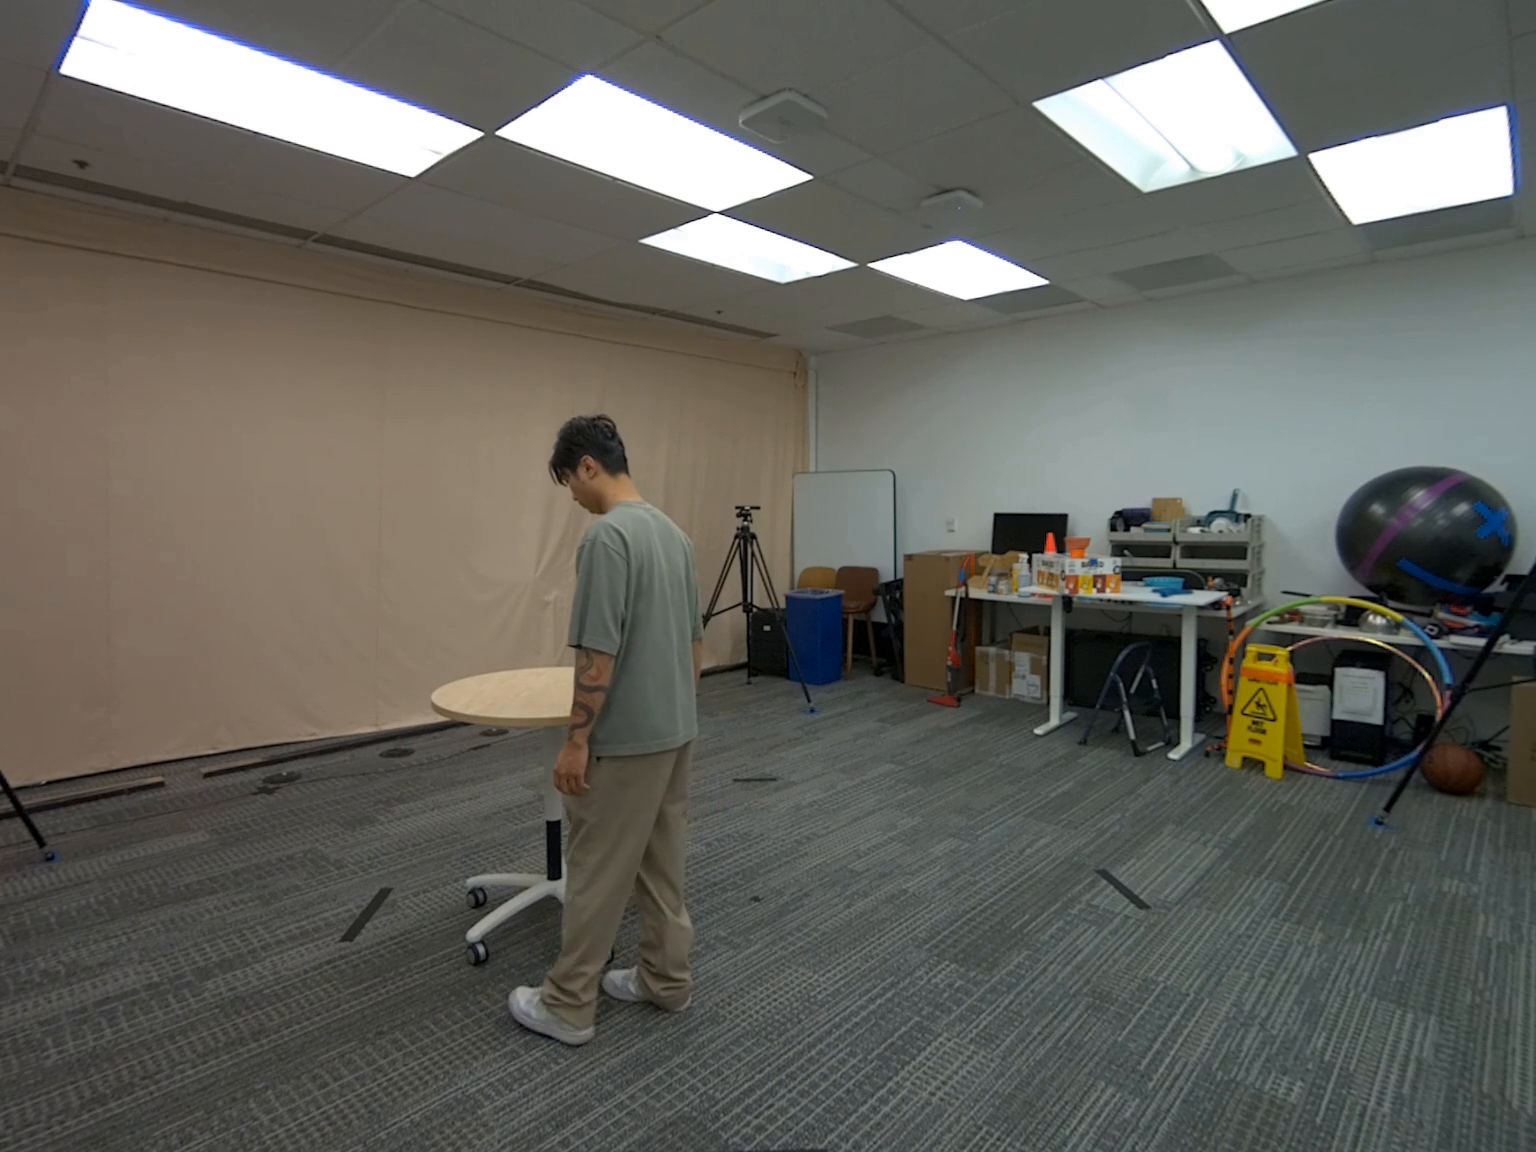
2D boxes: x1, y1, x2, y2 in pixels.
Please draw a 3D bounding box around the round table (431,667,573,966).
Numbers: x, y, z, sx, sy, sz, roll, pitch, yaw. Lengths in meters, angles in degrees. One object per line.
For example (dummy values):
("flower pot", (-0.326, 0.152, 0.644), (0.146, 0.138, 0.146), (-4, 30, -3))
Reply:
("round table", (-0.700, 0.767, 2.830), (0.784, 0.785, 0.788), (-1, 4, -2))
